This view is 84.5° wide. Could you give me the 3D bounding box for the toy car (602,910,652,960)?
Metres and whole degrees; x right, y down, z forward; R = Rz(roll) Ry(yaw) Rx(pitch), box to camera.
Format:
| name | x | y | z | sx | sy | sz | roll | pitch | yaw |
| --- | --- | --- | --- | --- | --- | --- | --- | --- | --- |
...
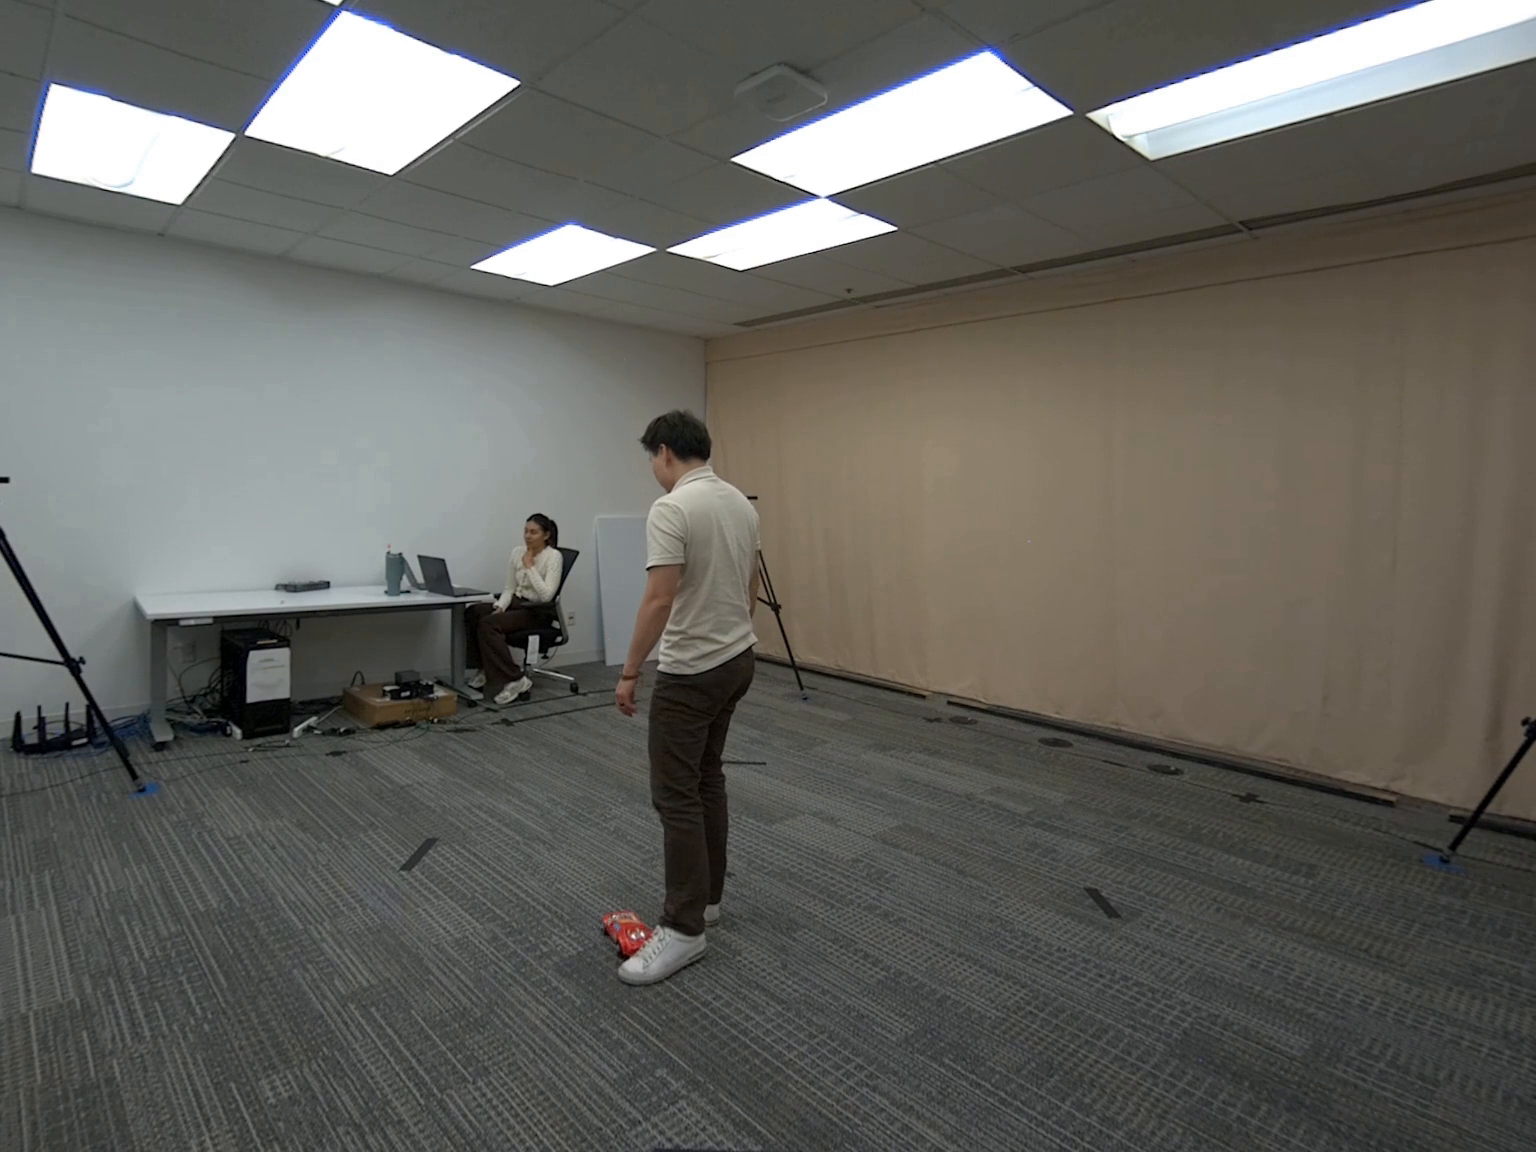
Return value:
| name | x | y | z | sx | sy | sz | roll | pitch | yaw |
| --- | --- | --- | --- | --- | --- | --- | --- | --- | --- |
| toy car | -0.440 | 1.112 | 2.604 | 0.128 | 0.083 | 0.258 | -2 | -4 | -28 |
